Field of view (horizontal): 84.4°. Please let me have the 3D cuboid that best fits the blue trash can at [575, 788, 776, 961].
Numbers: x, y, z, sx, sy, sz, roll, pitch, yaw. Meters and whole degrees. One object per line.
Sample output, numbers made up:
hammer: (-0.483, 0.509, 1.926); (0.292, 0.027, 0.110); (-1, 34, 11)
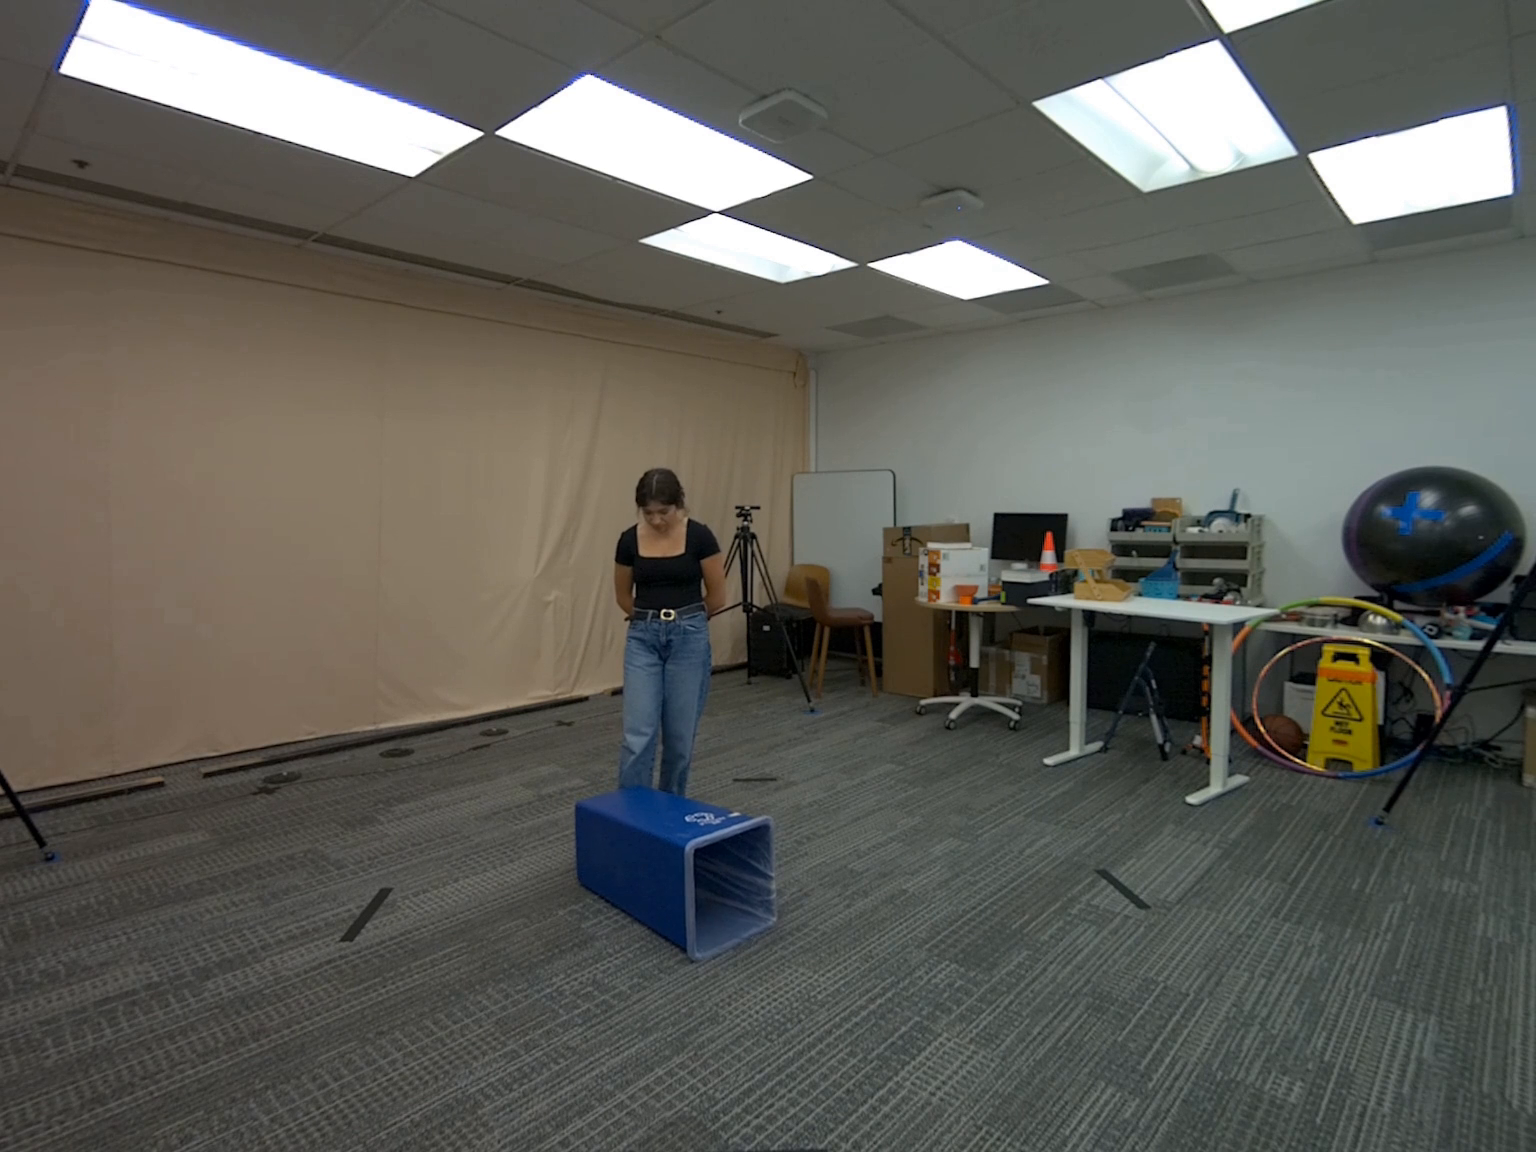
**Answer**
blue trash can: (-0.349, 0.985, 2.929); (0.363, 0.378, 0.736); (-4, 3, -43)
